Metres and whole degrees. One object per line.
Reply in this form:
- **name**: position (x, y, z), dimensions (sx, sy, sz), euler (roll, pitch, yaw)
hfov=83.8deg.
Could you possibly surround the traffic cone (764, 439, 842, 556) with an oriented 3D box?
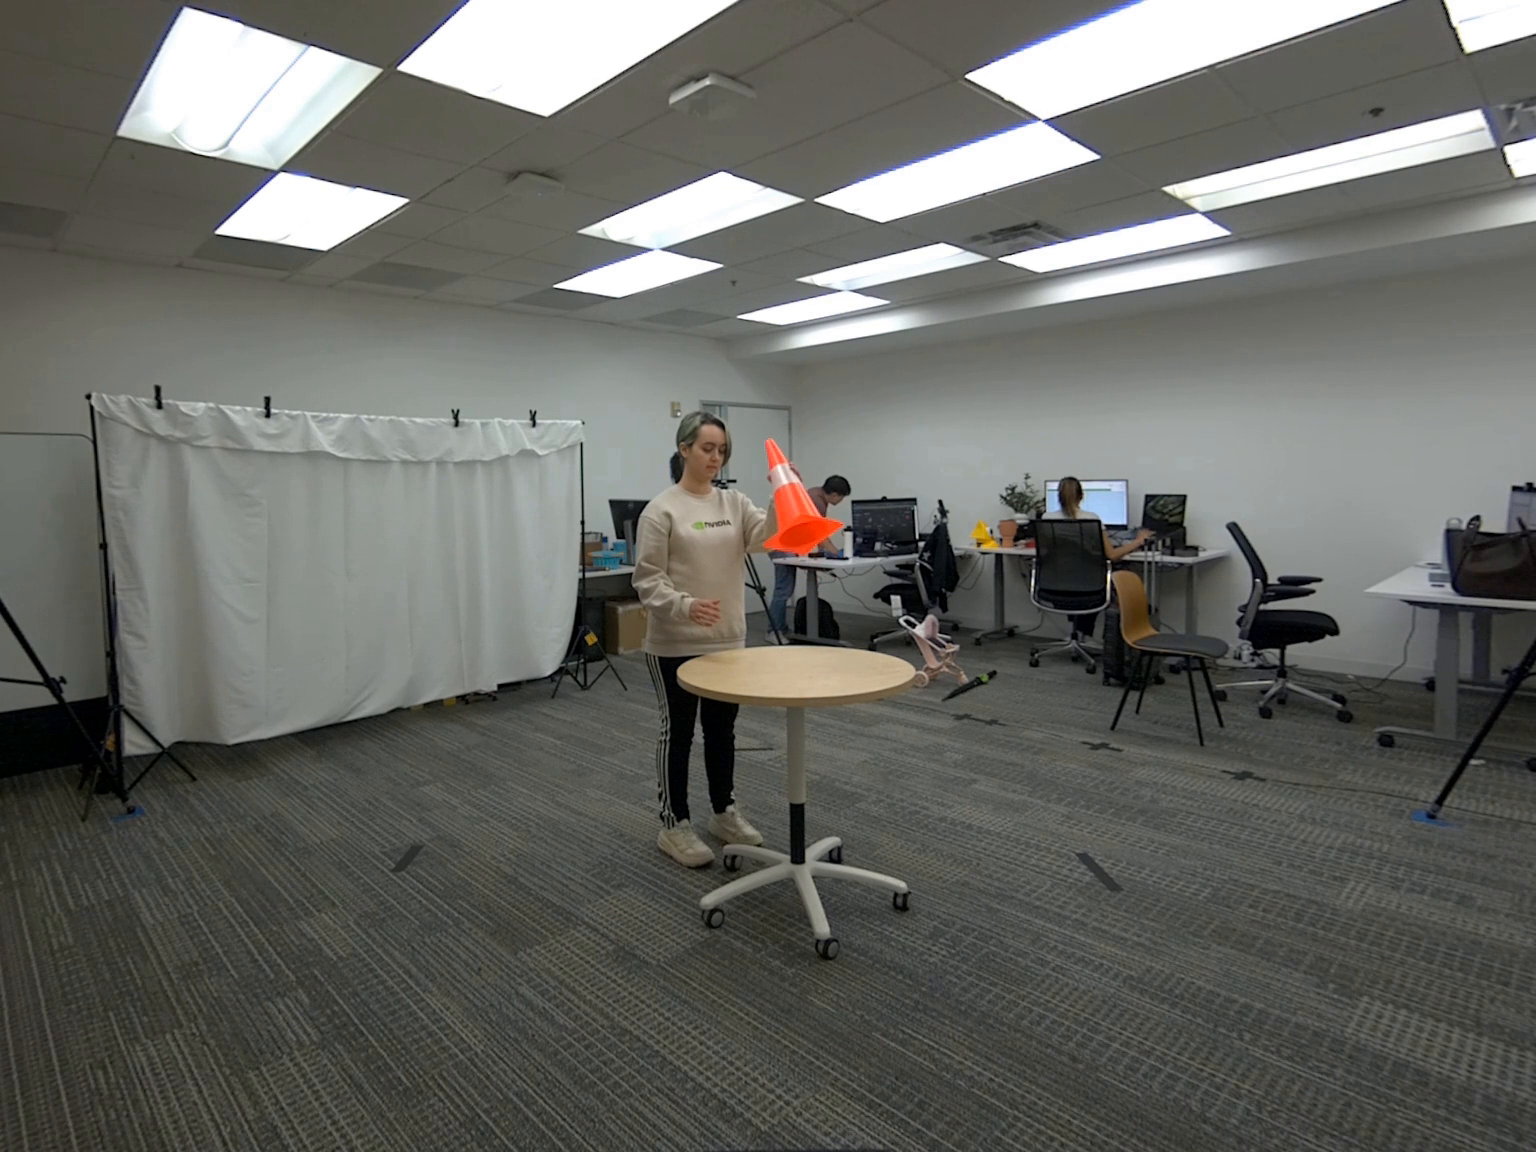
- **traffic cone**: position (0.059, -0.289, 2.814), dimensions (0.204, 0.395, 0.198), euler (-36, -33, 31)
